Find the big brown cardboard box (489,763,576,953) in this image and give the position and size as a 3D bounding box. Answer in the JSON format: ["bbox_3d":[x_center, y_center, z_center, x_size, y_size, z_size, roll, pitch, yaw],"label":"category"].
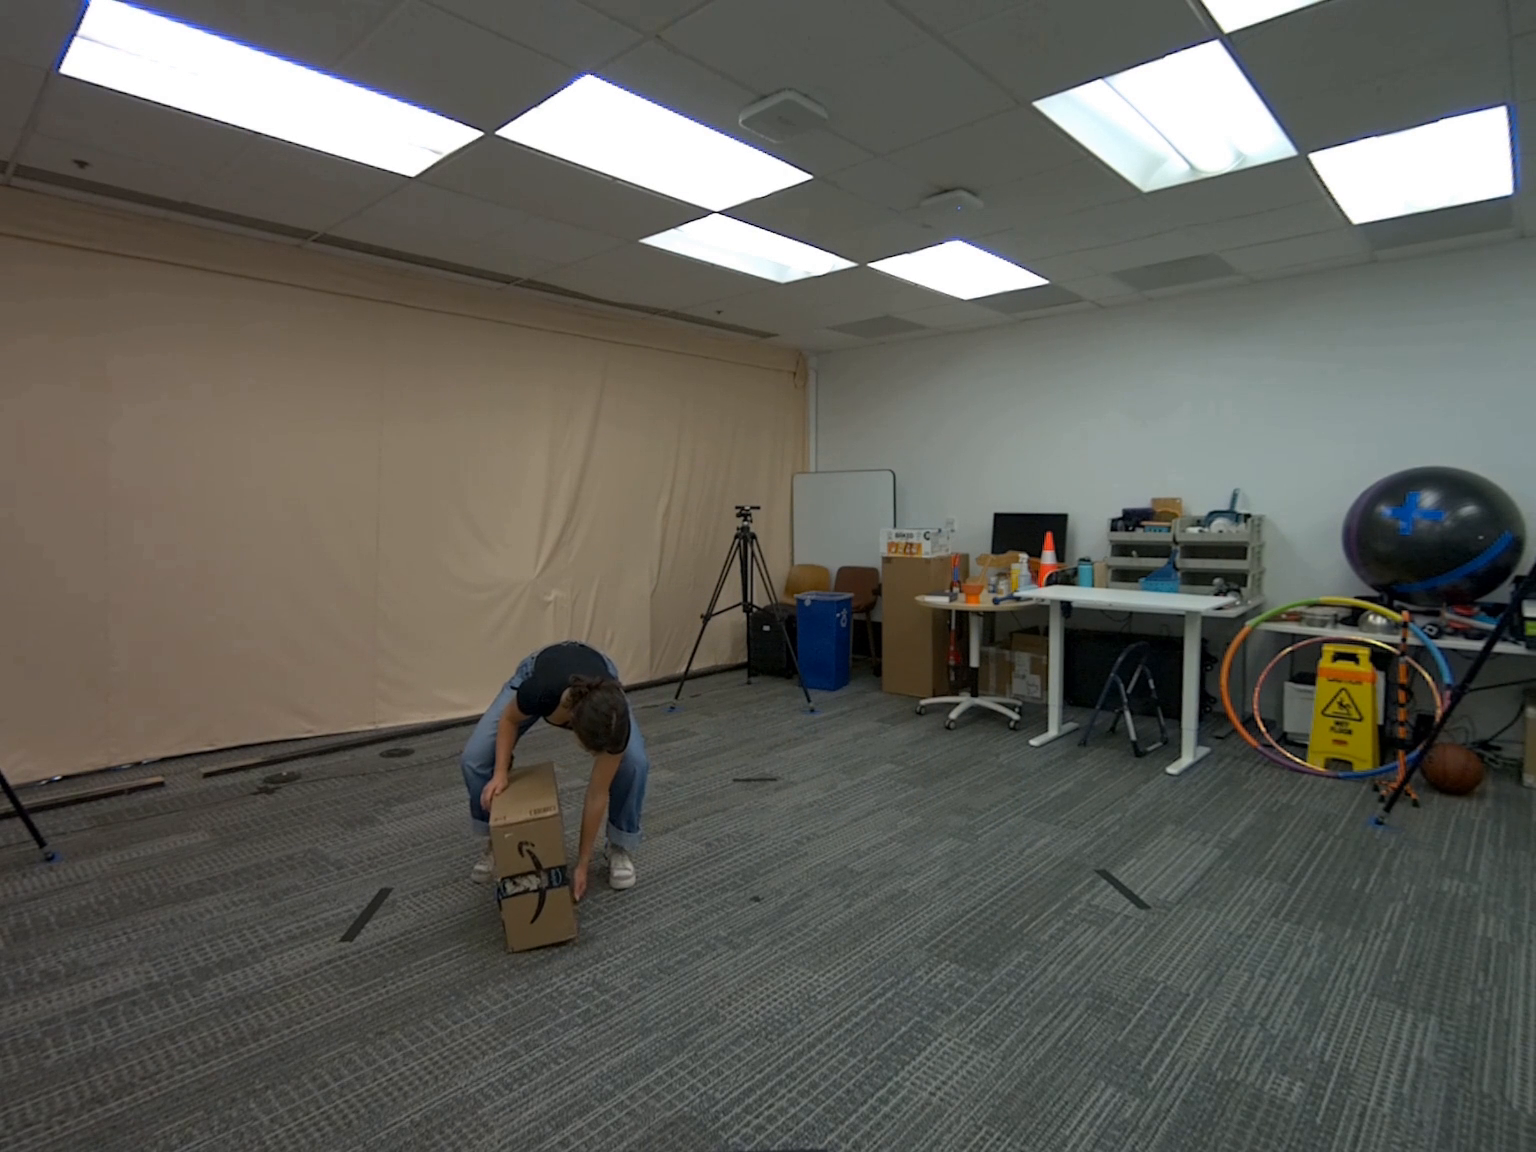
[{"bbox_3d":[-0.807,0.939,2.894,0.230,0.416,0.598,-7,5,-14],"label":"big brown cardboard box"}]
